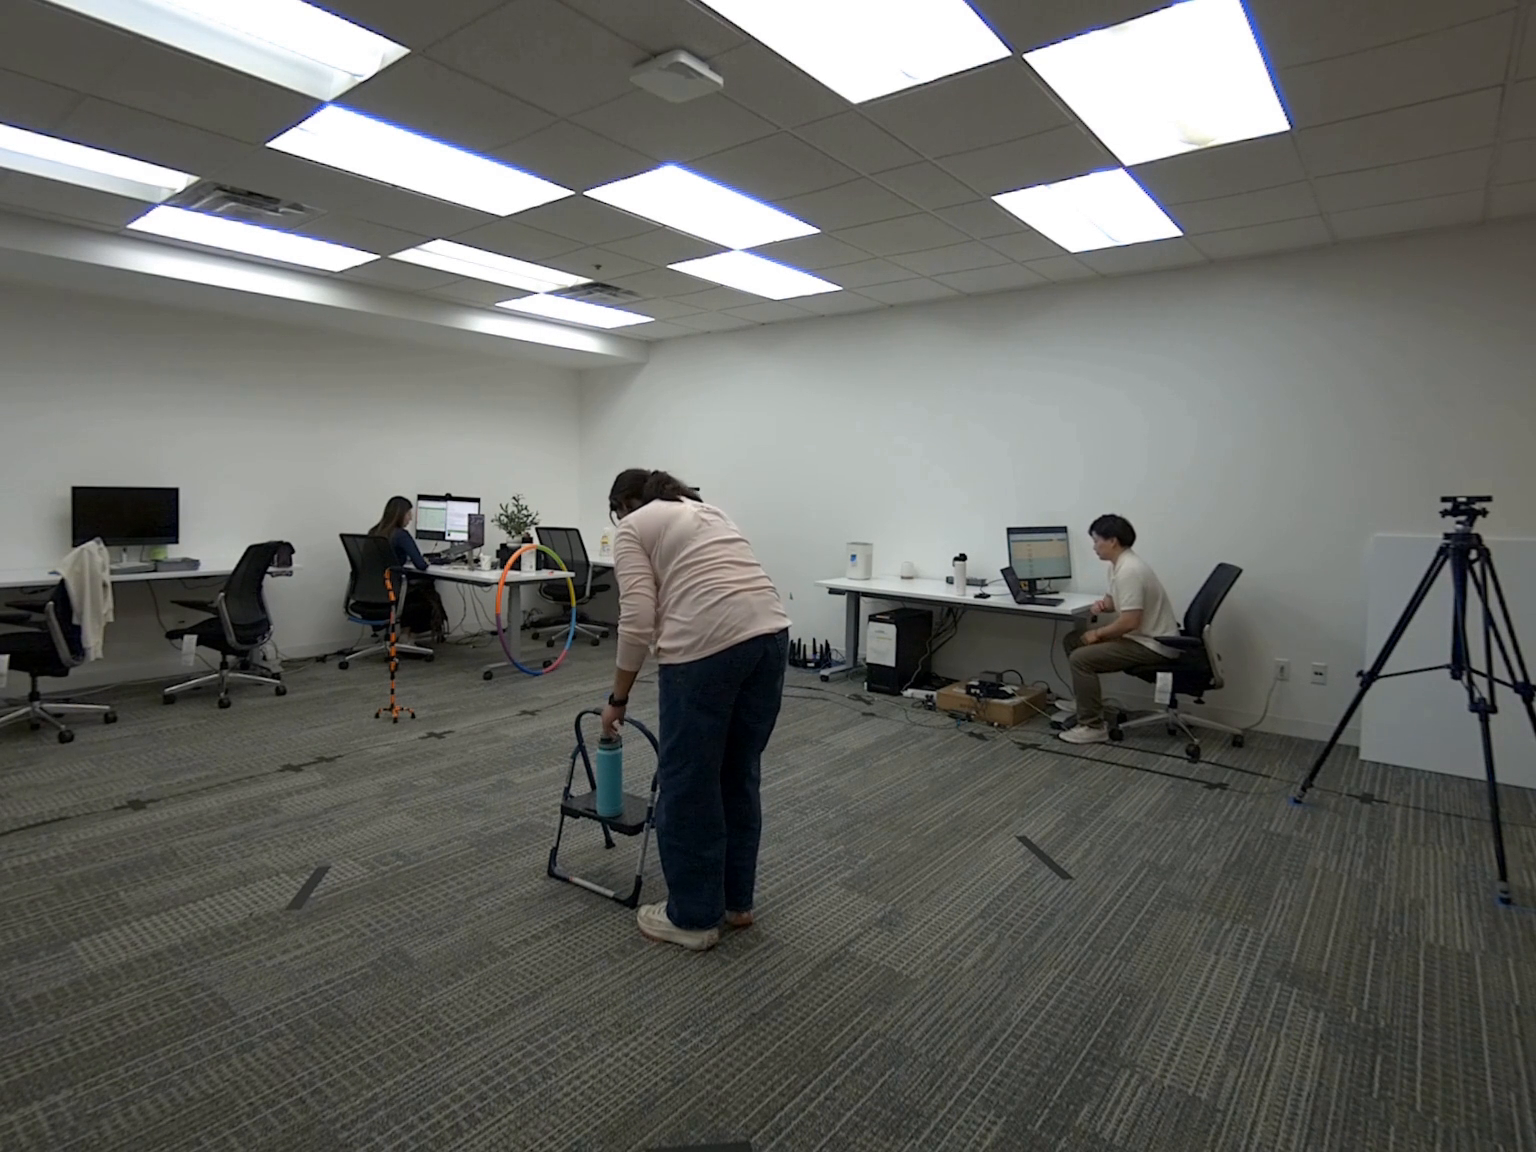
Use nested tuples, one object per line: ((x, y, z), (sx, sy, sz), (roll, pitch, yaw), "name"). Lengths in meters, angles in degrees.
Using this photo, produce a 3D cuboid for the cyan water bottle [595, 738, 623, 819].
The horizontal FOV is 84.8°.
((-0.555, 0.679, 2.932), (0.092, 0.282, 0.093), (0, 4, -2), "cyan water bottle")
